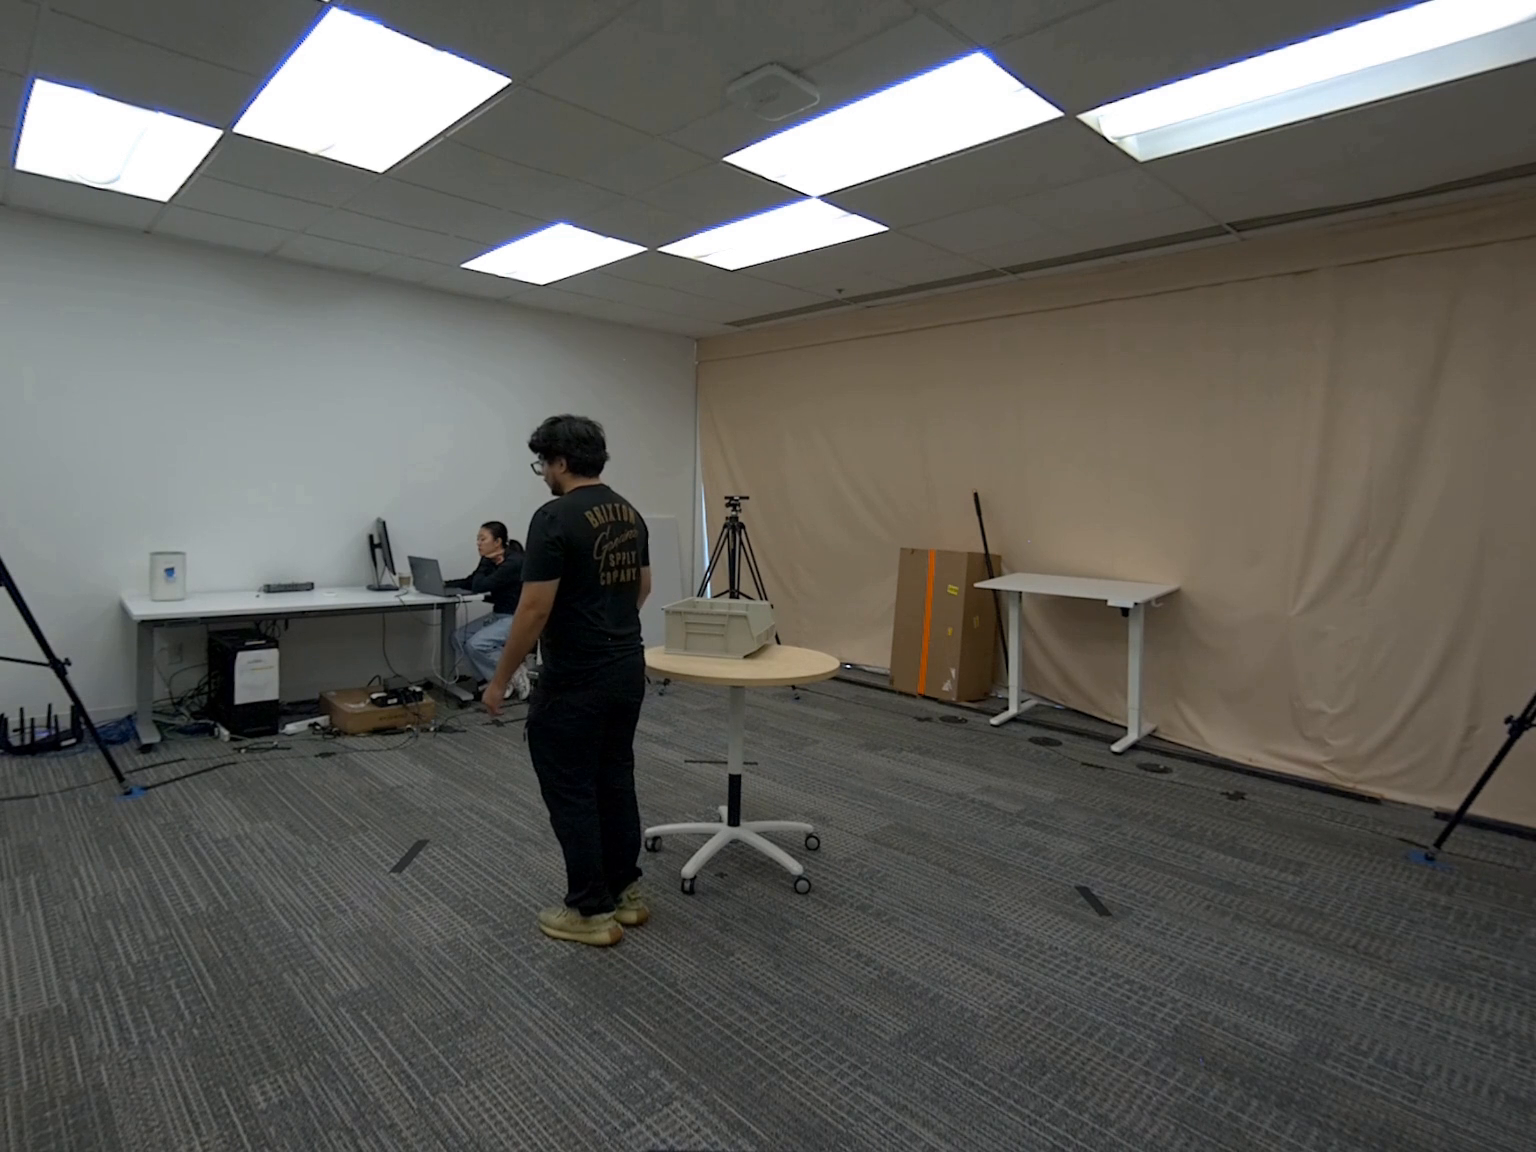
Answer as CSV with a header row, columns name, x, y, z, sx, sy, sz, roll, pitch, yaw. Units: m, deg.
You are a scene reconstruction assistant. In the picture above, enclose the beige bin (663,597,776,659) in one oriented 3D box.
name,x,y,z,sx,sy,sz,roll,pitch,yaw
beige bin,-0.192,0.206,3.405,0.381,0.188,0.419,2,5,13
